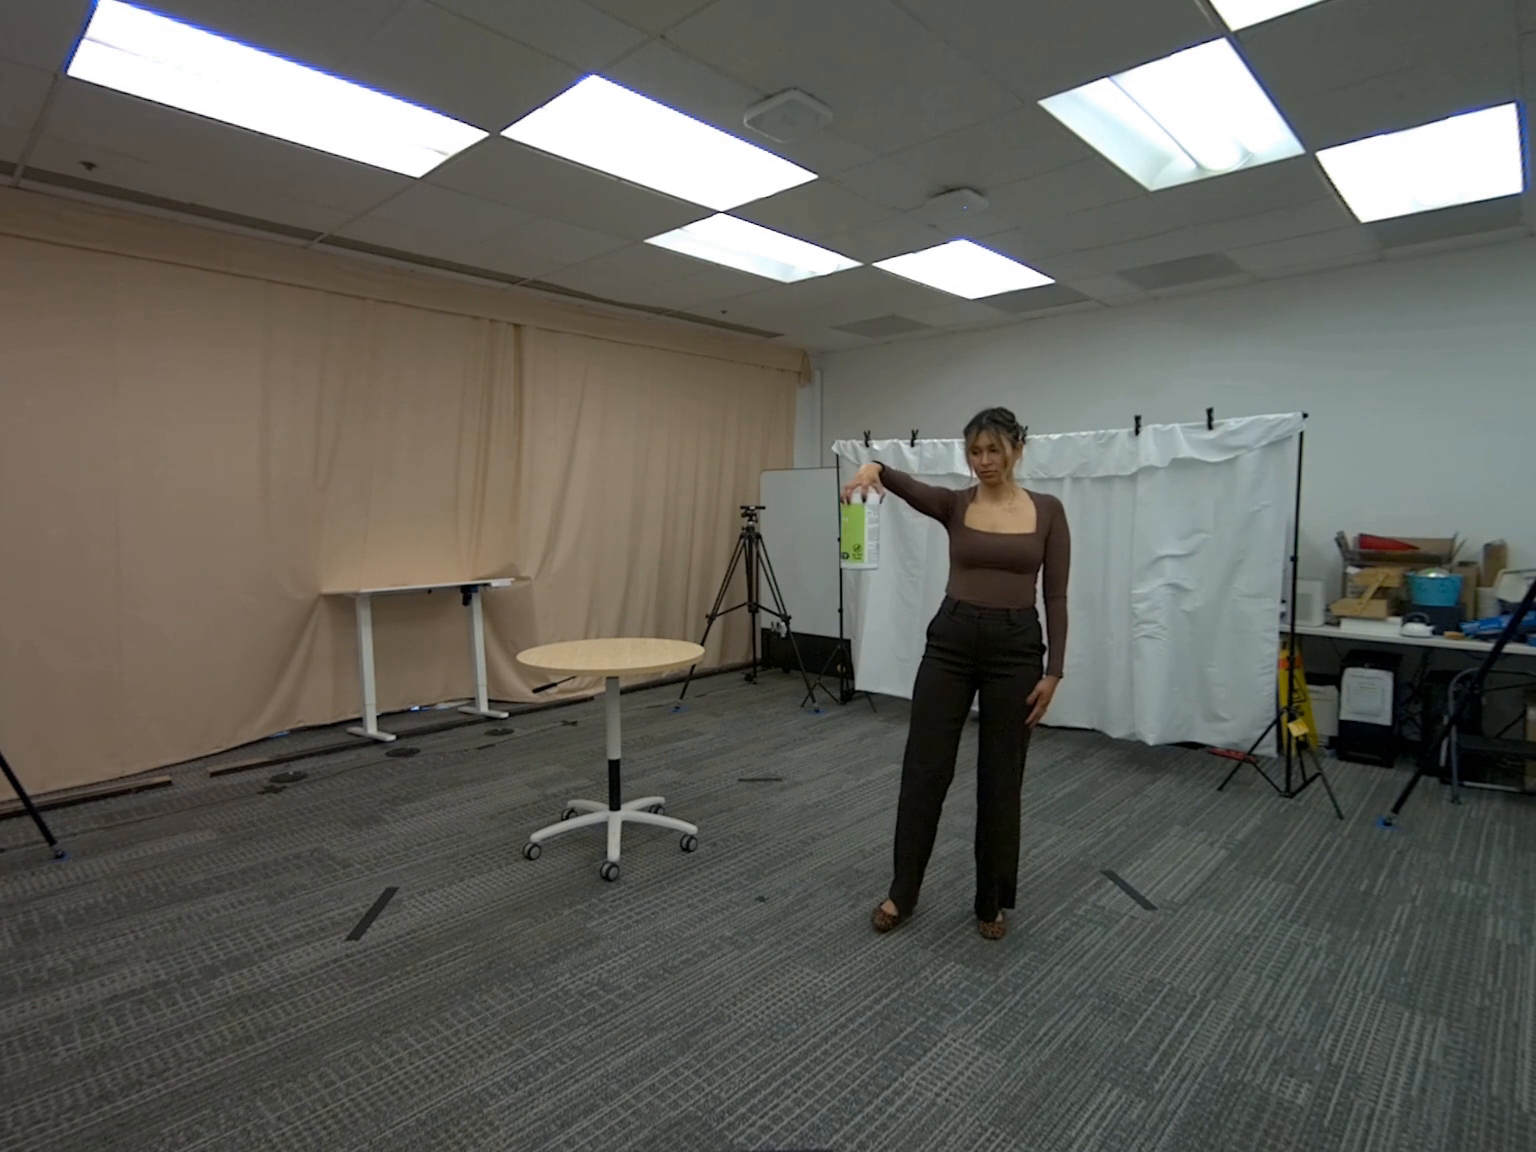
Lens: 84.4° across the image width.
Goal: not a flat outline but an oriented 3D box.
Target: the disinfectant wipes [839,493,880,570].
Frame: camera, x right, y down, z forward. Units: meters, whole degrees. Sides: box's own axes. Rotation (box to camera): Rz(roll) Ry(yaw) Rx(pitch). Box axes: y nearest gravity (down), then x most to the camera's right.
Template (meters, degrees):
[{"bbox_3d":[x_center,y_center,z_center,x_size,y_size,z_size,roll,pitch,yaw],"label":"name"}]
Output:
[{"bbox_3d":[0.272,-0.122,2.395,0.118,0.217,0.118,0,4,-2],"label":"disinfectant wipes"}]
